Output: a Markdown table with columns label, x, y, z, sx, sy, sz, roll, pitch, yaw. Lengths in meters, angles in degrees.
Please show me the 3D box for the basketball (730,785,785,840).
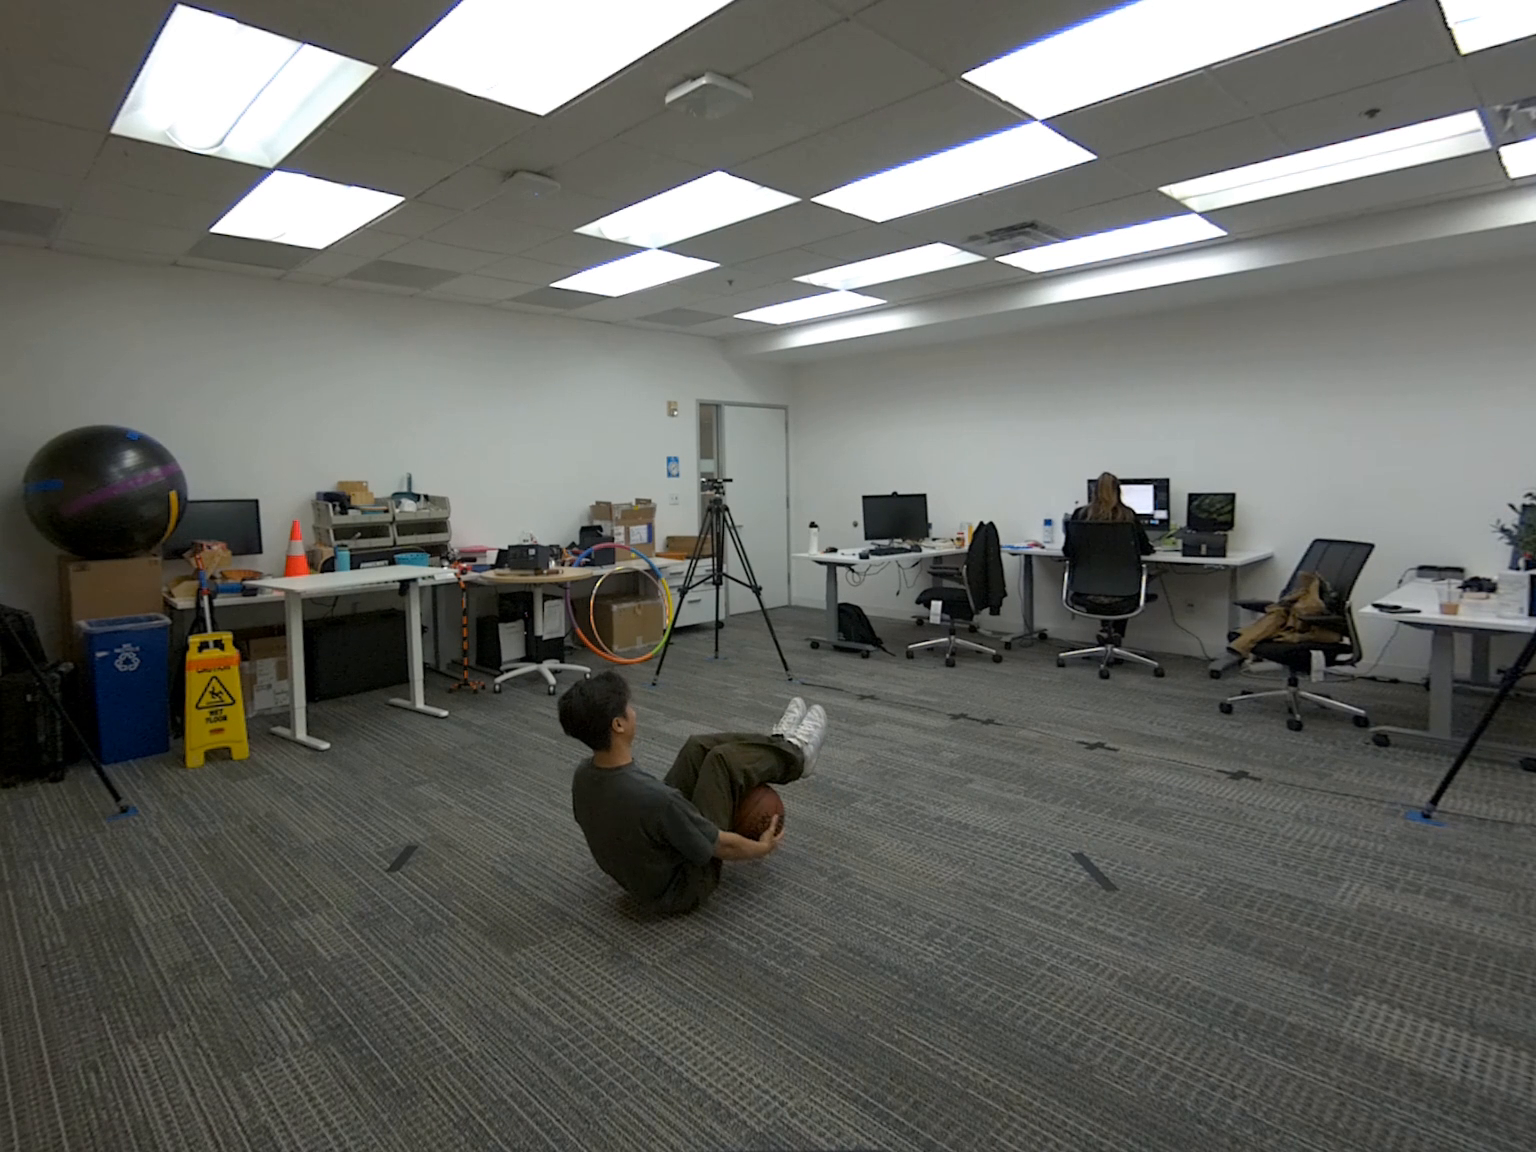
| label | x | y | z | sx | sy | sz | roll | pitch | yaw |
| --- | --- | --- | --- | --- | --- | --- | --- | --- | --- |
| basketball | -0.059 | 0.846 | 3.036 | 0.236 | 0.235 | 0.237 | -1 | 5 | -2 |
